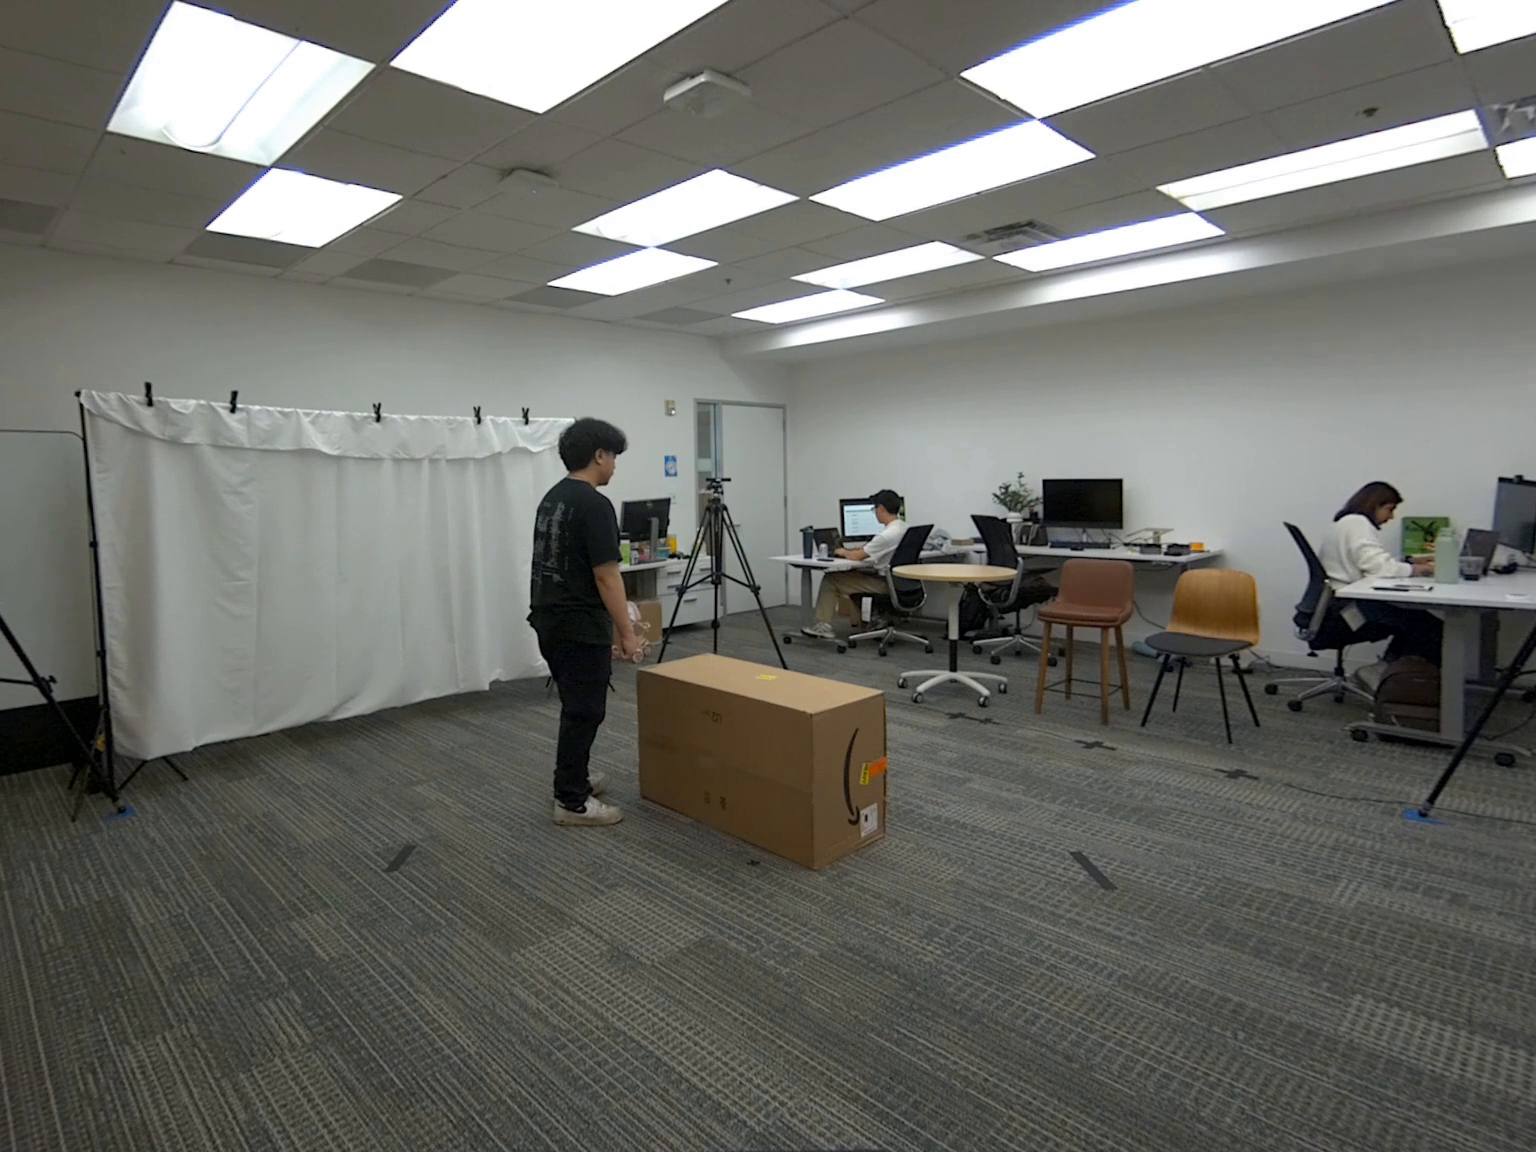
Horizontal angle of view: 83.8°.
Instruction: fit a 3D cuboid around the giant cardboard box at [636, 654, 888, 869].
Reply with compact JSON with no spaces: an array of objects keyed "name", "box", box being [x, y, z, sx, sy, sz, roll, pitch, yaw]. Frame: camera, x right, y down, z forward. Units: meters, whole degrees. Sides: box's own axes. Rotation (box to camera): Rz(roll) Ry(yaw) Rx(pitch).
[{"name":"giant cardboard box","box":[-0.054,0.710,3.526,0.435,0.582,1.059,-4,7,-44]}]
